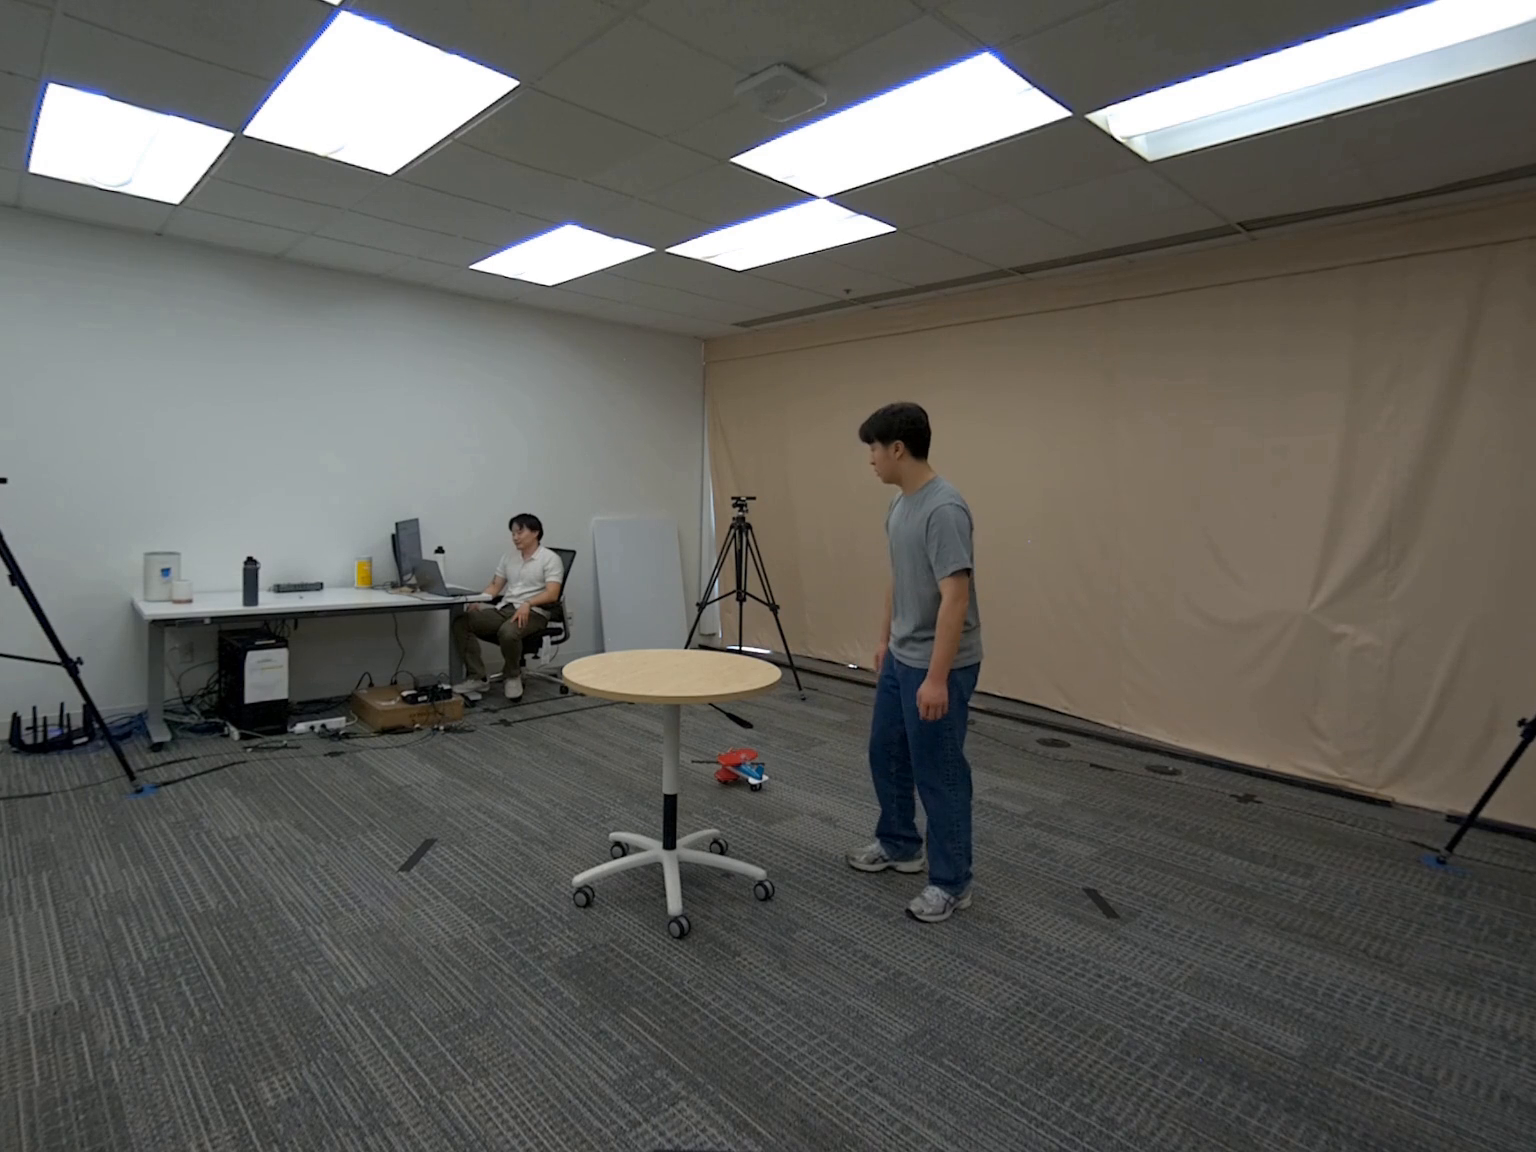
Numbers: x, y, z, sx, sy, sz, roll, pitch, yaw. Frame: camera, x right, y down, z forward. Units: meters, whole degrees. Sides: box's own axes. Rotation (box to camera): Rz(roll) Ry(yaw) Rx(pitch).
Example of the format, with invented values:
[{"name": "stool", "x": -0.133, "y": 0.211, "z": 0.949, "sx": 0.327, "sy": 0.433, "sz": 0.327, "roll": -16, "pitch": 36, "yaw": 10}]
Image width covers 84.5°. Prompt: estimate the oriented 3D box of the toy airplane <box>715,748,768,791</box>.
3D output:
[{"name": "toy airplane", "x": -0.133, "y": 0.944, "z": 4.112, "sx": 0.262, "sy": 0.156, "sz": 0.249, "roll": 2, "pitch": 5, "yaw": 12}]
